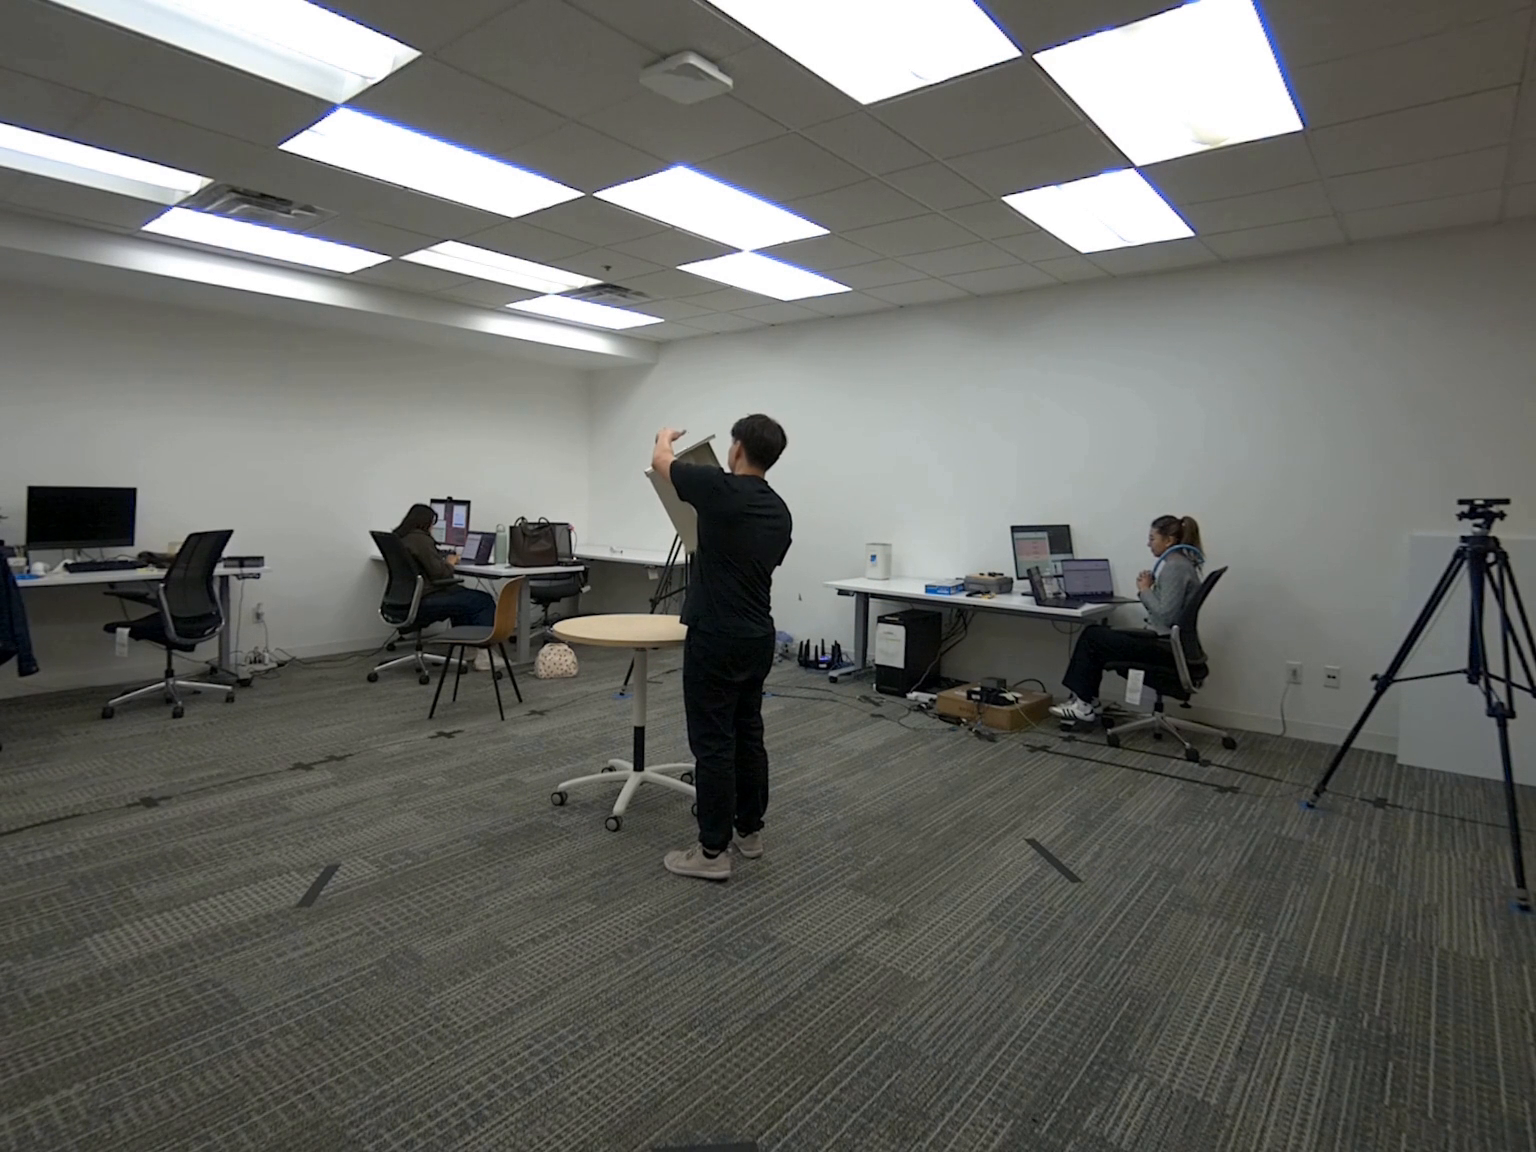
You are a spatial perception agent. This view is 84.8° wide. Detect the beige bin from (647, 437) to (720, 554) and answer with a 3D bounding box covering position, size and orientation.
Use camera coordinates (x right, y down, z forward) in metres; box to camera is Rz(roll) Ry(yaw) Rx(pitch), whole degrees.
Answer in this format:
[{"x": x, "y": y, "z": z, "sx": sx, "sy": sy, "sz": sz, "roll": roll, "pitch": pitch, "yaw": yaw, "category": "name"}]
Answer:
[{"x": -0.291, "y": -0.368, "z": 3.728, "sx": 0.193, "sy": 0.418, "sz": 0.374, "roll": -20, "pitch": 11, "yaw": 45, "category": "beige bin"}]
